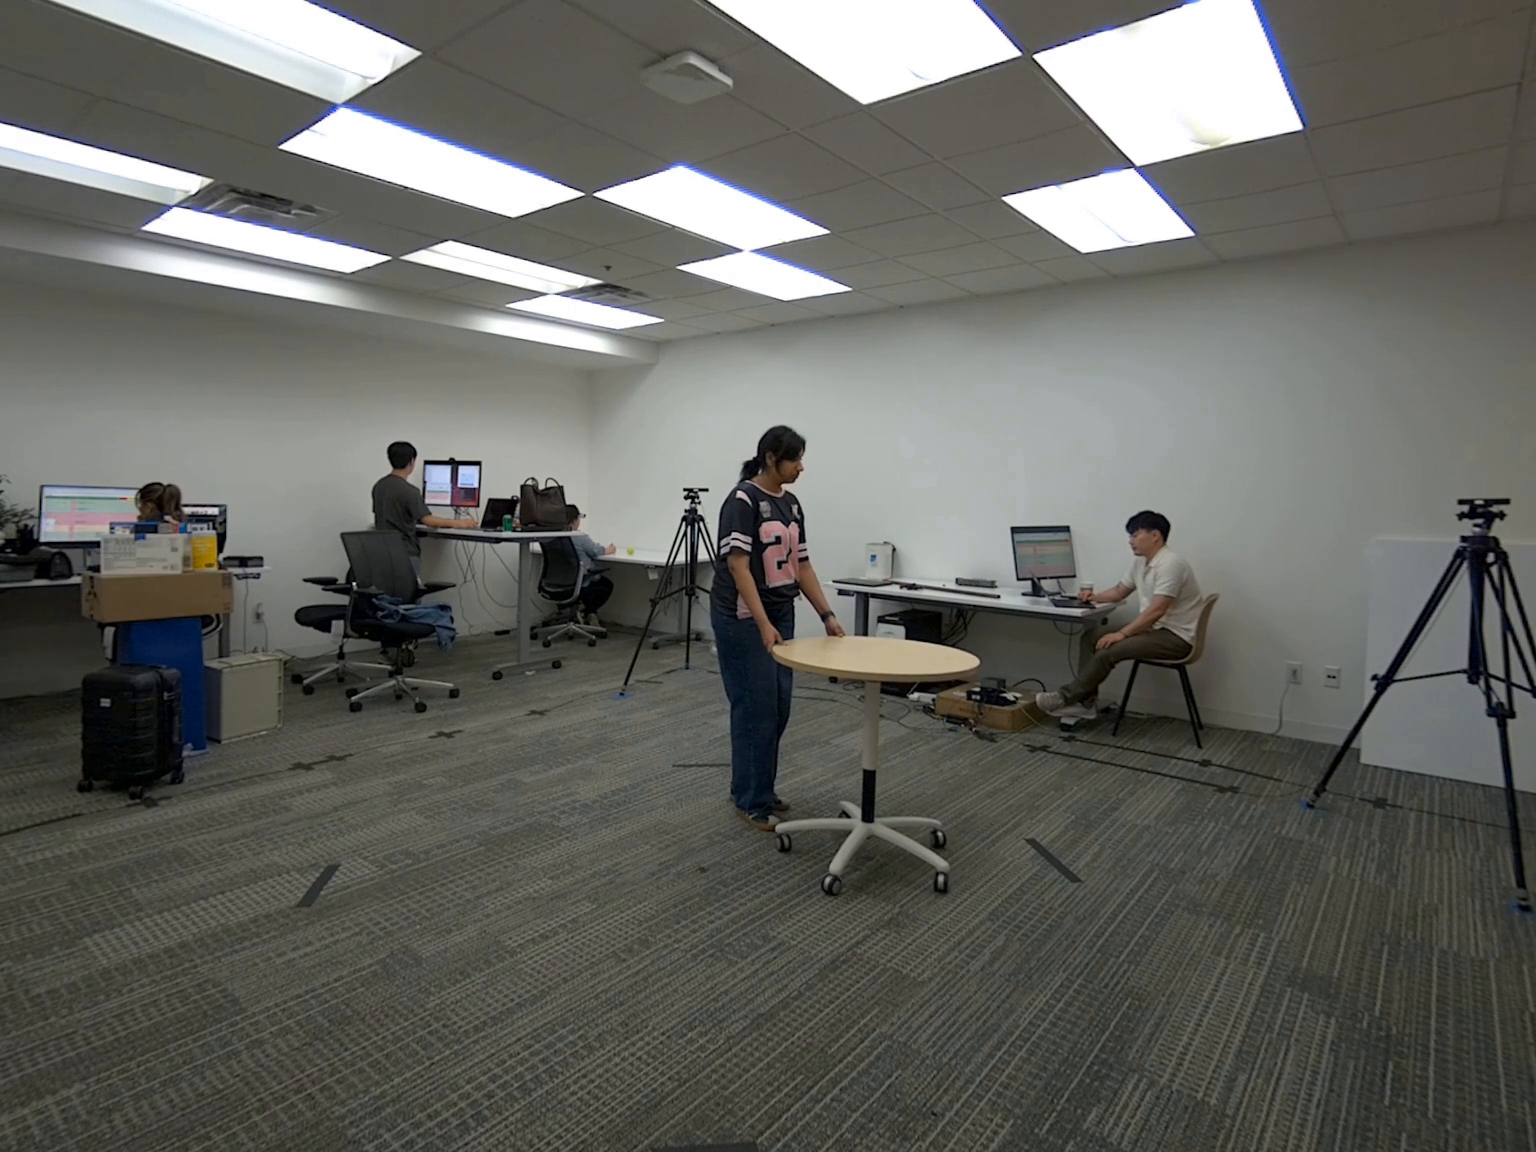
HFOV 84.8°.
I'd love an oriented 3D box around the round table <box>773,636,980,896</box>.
[{"bbox_3d":[0.374,0.680,3.222,0.763,0.791,0.768,2,4,-2],"label":"round table"}]
